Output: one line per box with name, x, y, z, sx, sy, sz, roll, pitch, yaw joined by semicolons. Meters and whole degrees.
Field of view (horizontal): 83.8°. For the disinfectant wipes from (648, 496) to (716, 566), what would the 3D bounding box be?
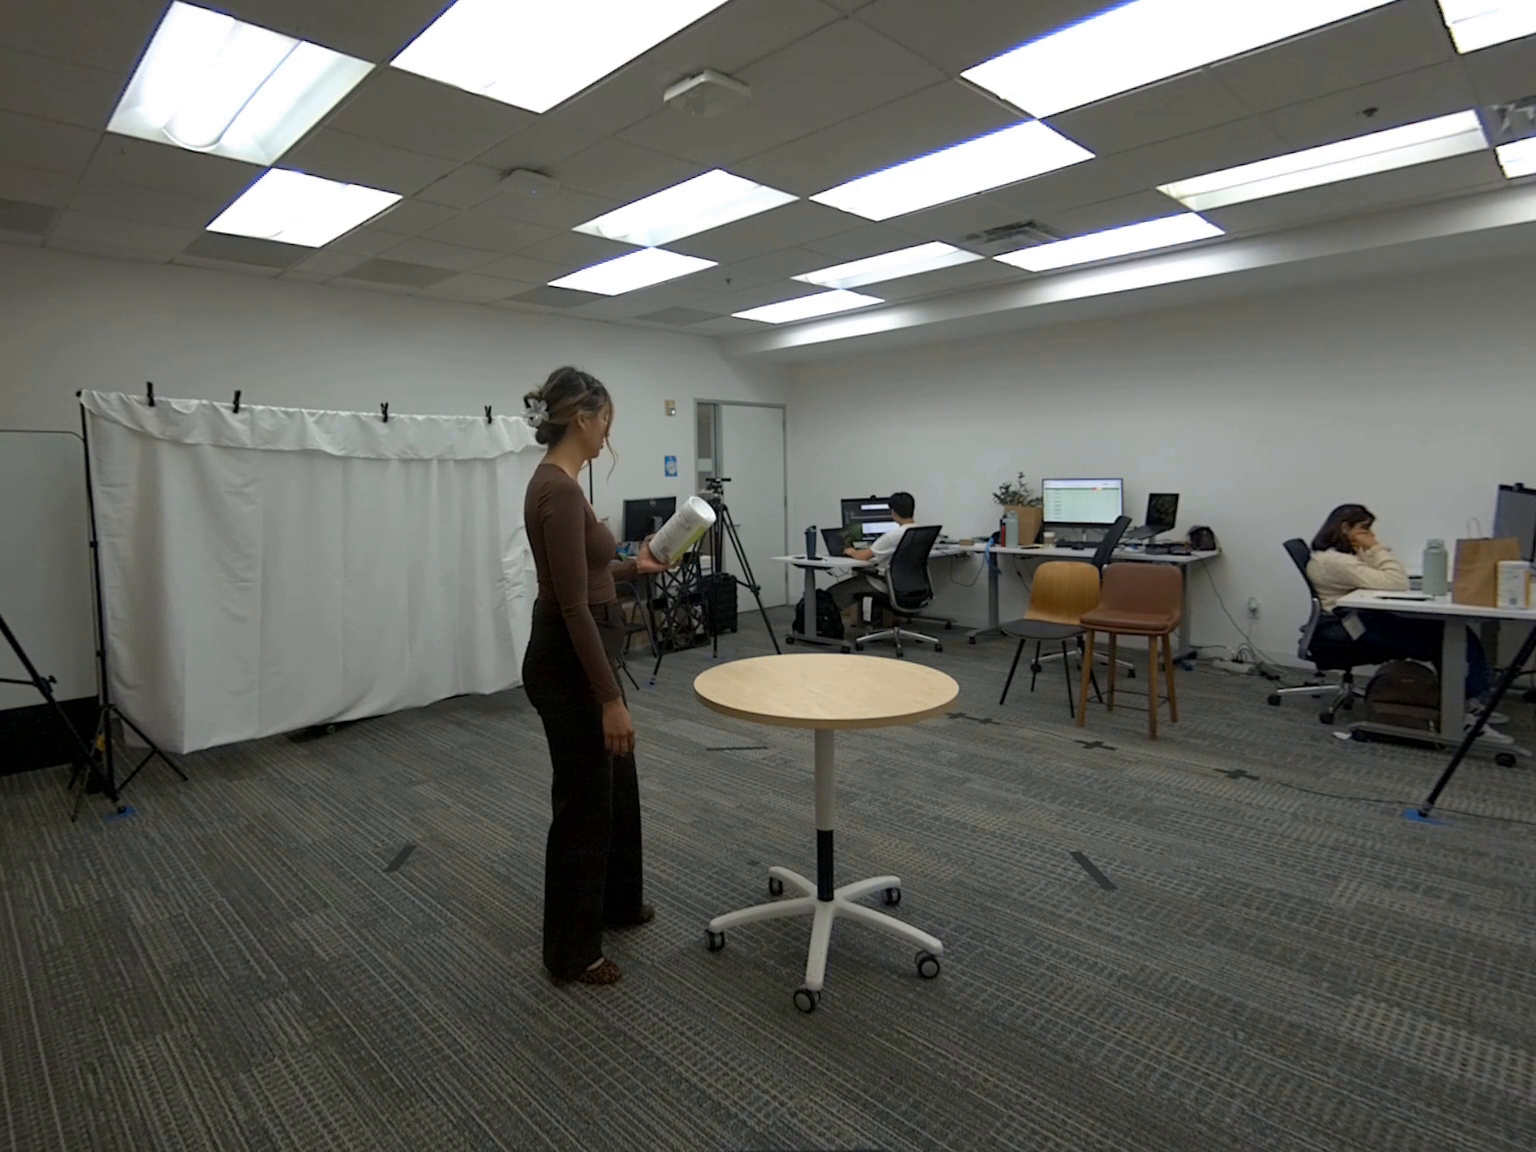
disinfectant wipes;-0.265;-0.141;2.690;0.217;0.120;0.115;-45;-15;23
